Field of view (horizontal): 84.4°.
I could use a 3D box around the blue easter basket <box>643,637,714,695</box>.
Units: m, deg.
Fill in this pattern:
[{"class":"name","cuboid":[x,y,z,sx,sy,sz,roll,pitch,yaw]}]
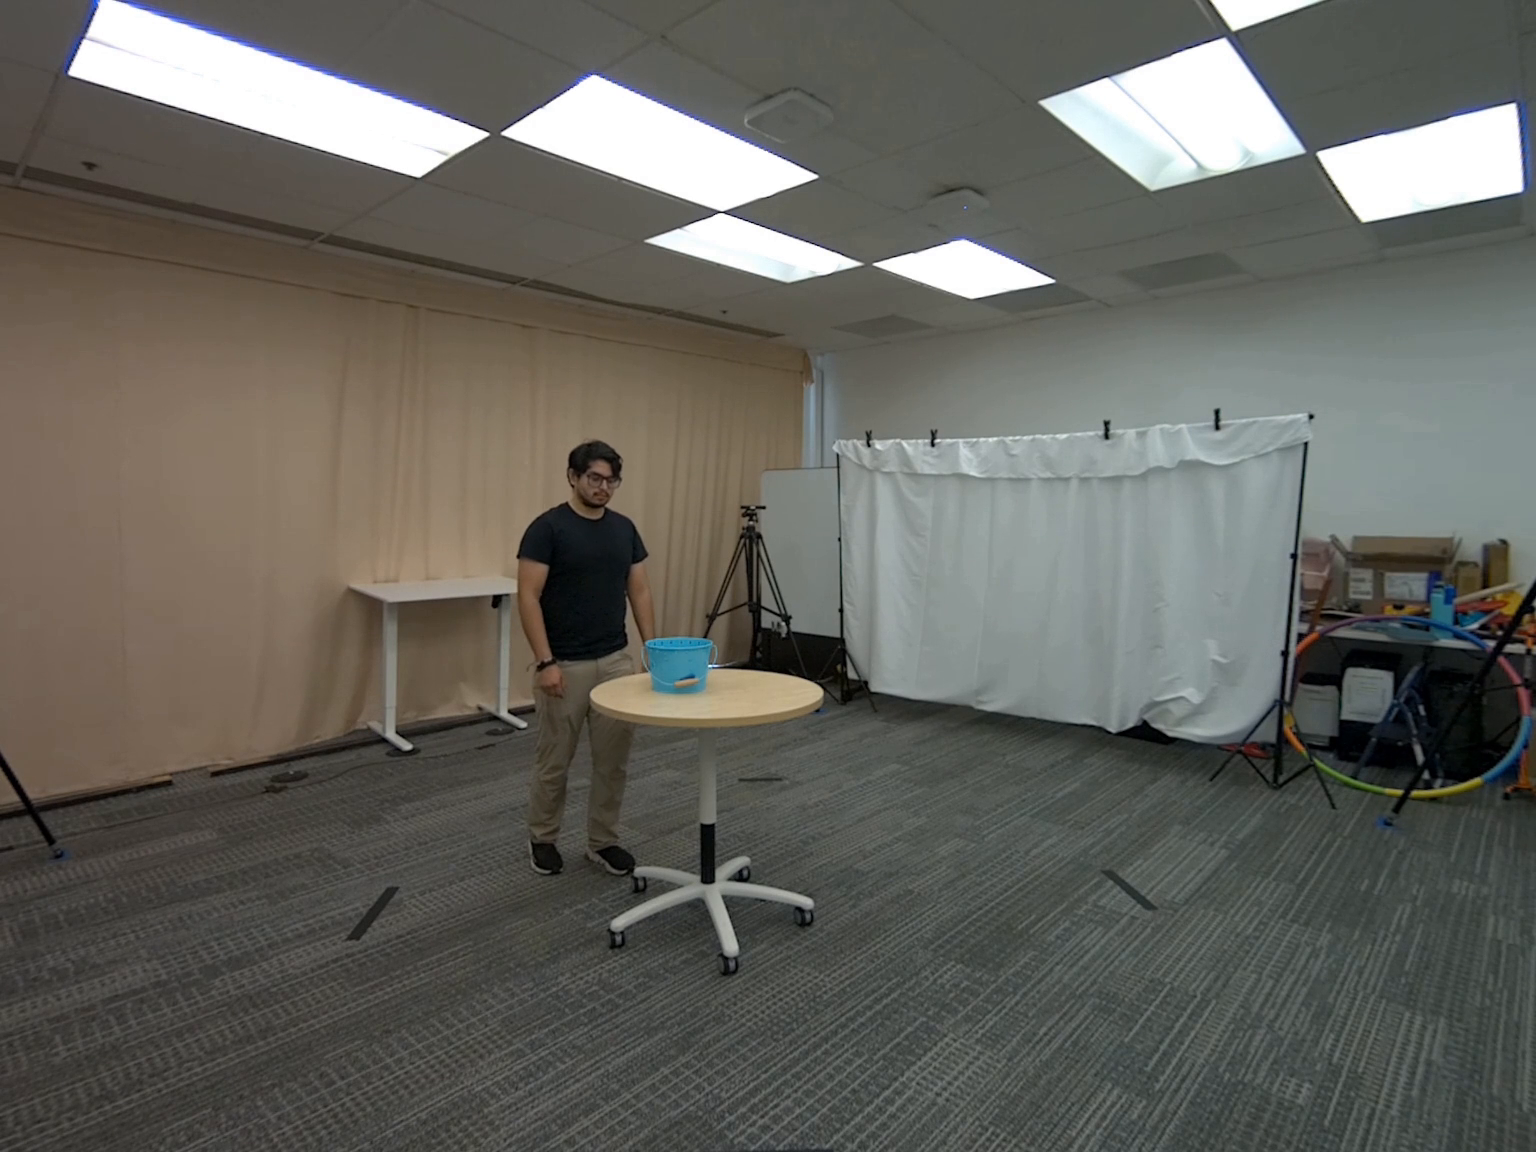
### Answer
[{"class":"blue easter basket","cuboid":[-0.297,0.302,2.816,0.243,0.155,0.244,-1,4,-2]}]
